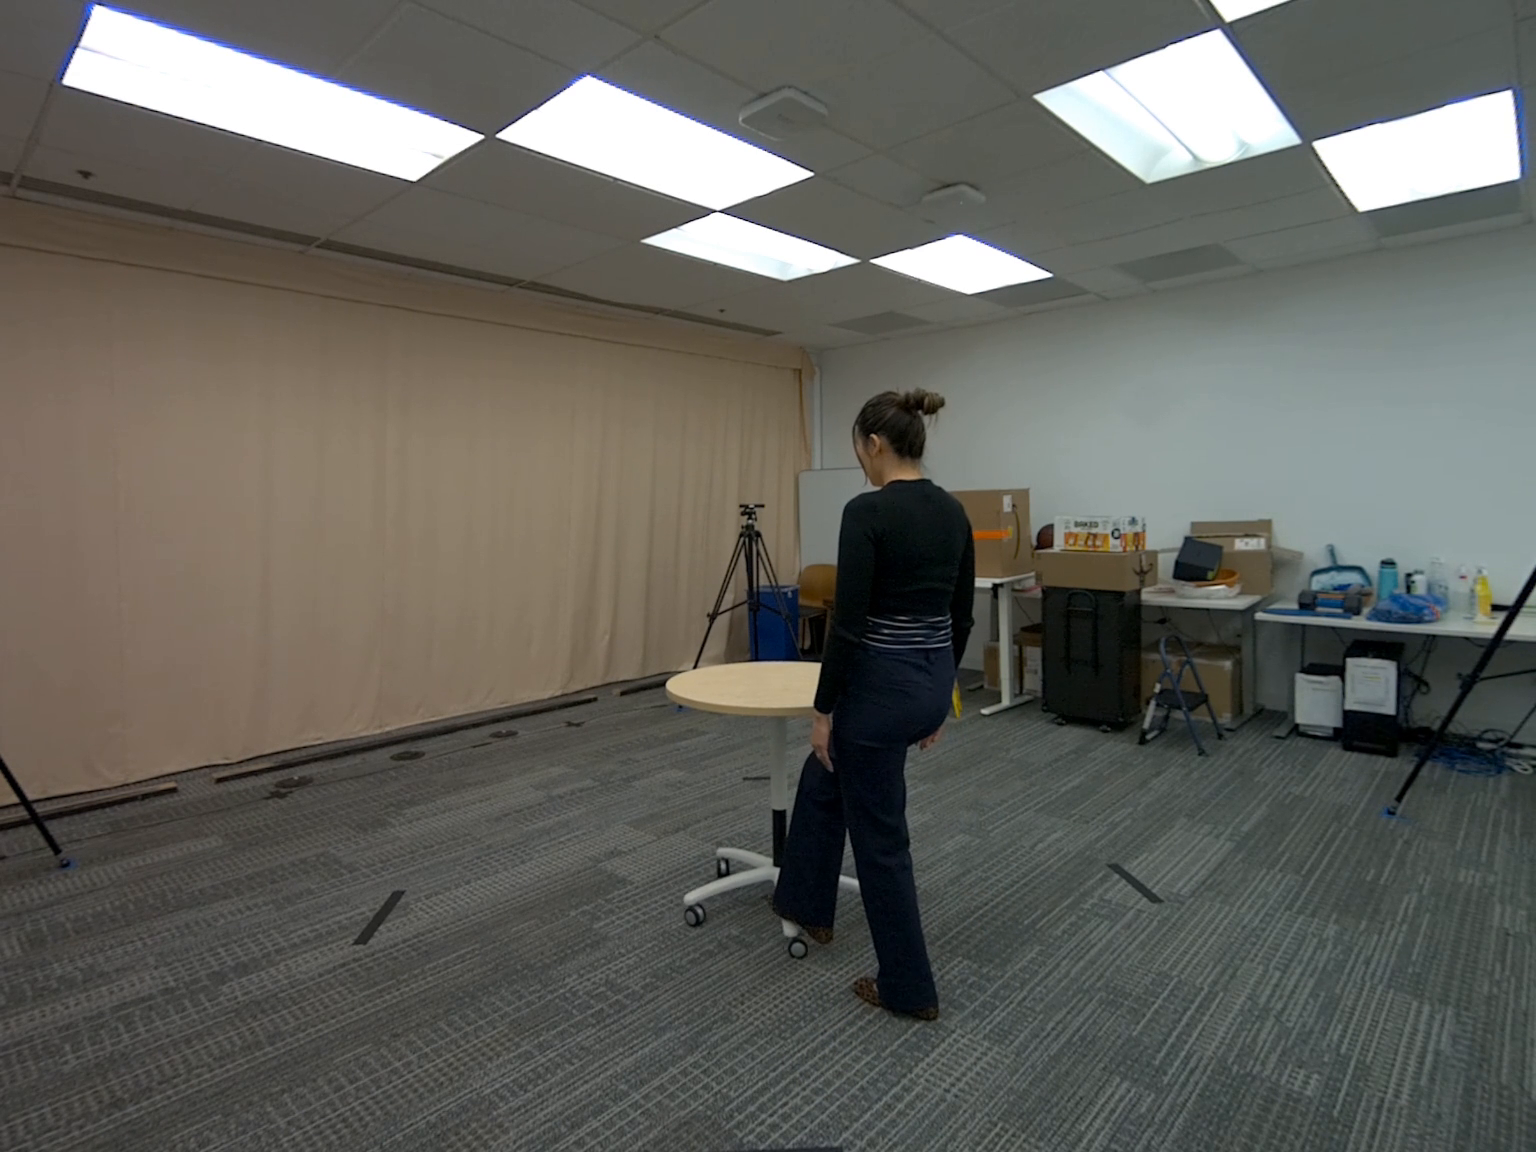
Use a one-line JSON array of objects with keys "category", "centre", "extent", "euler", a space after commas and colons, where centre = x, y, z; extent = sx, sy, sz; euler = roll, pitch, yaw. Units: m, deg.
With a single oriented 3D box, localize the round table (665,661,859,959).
[{"category": "round table", "centre": [0.038, 0.757, 2.907], "extent": [0.763, 0.792, 0.766], "euler": [-1, 4, -2]}]
